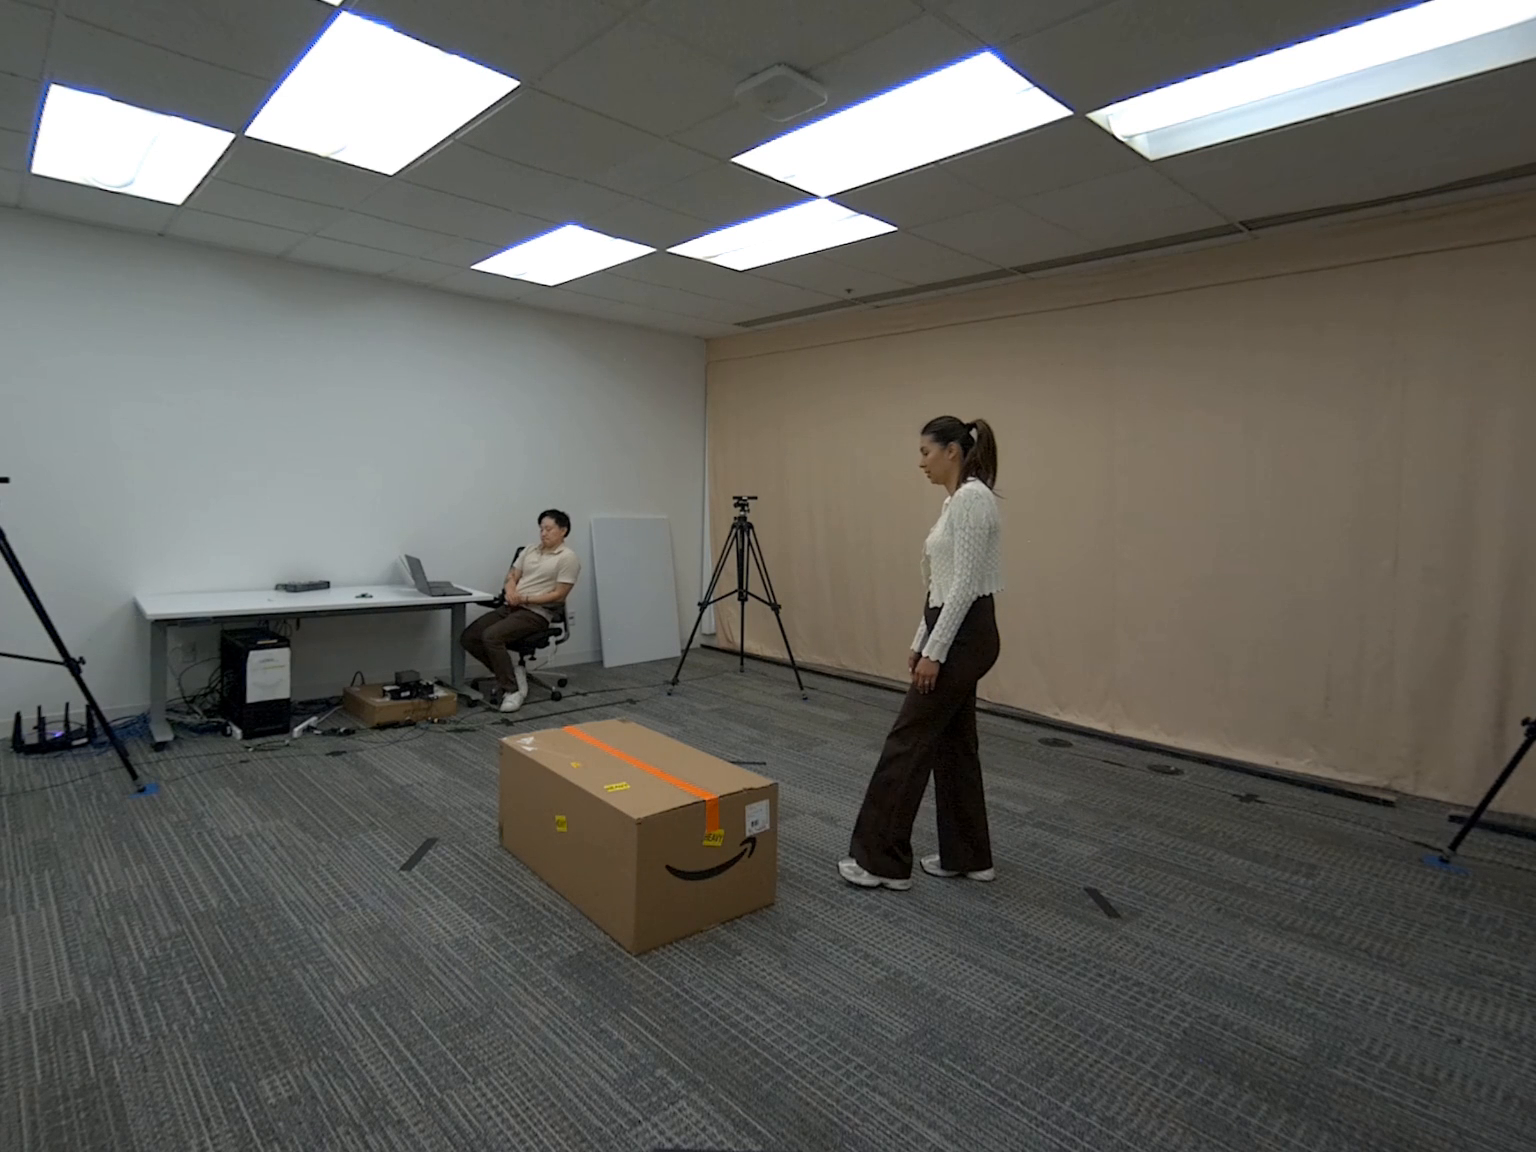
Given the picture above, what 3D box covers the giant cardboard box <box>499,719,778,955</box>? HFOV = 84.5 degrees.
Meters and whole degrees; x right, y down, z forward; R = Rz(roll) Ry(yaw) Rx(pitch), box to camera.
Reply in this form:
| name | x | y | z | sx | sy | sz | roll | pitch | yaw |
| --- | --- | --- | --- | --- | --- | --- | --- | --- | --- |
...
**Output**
| name | x | y | z | sx | sy | sz | roll | pitch | yaw |
| --- | --- | --- | --- | --- | --- | --- | --- | --- | --- |
| giant cardboard box | -0.520 | 0.881 | 3.095 | 0.564 | 0.425 | 1.052 | -3 | 7 | -40 |
